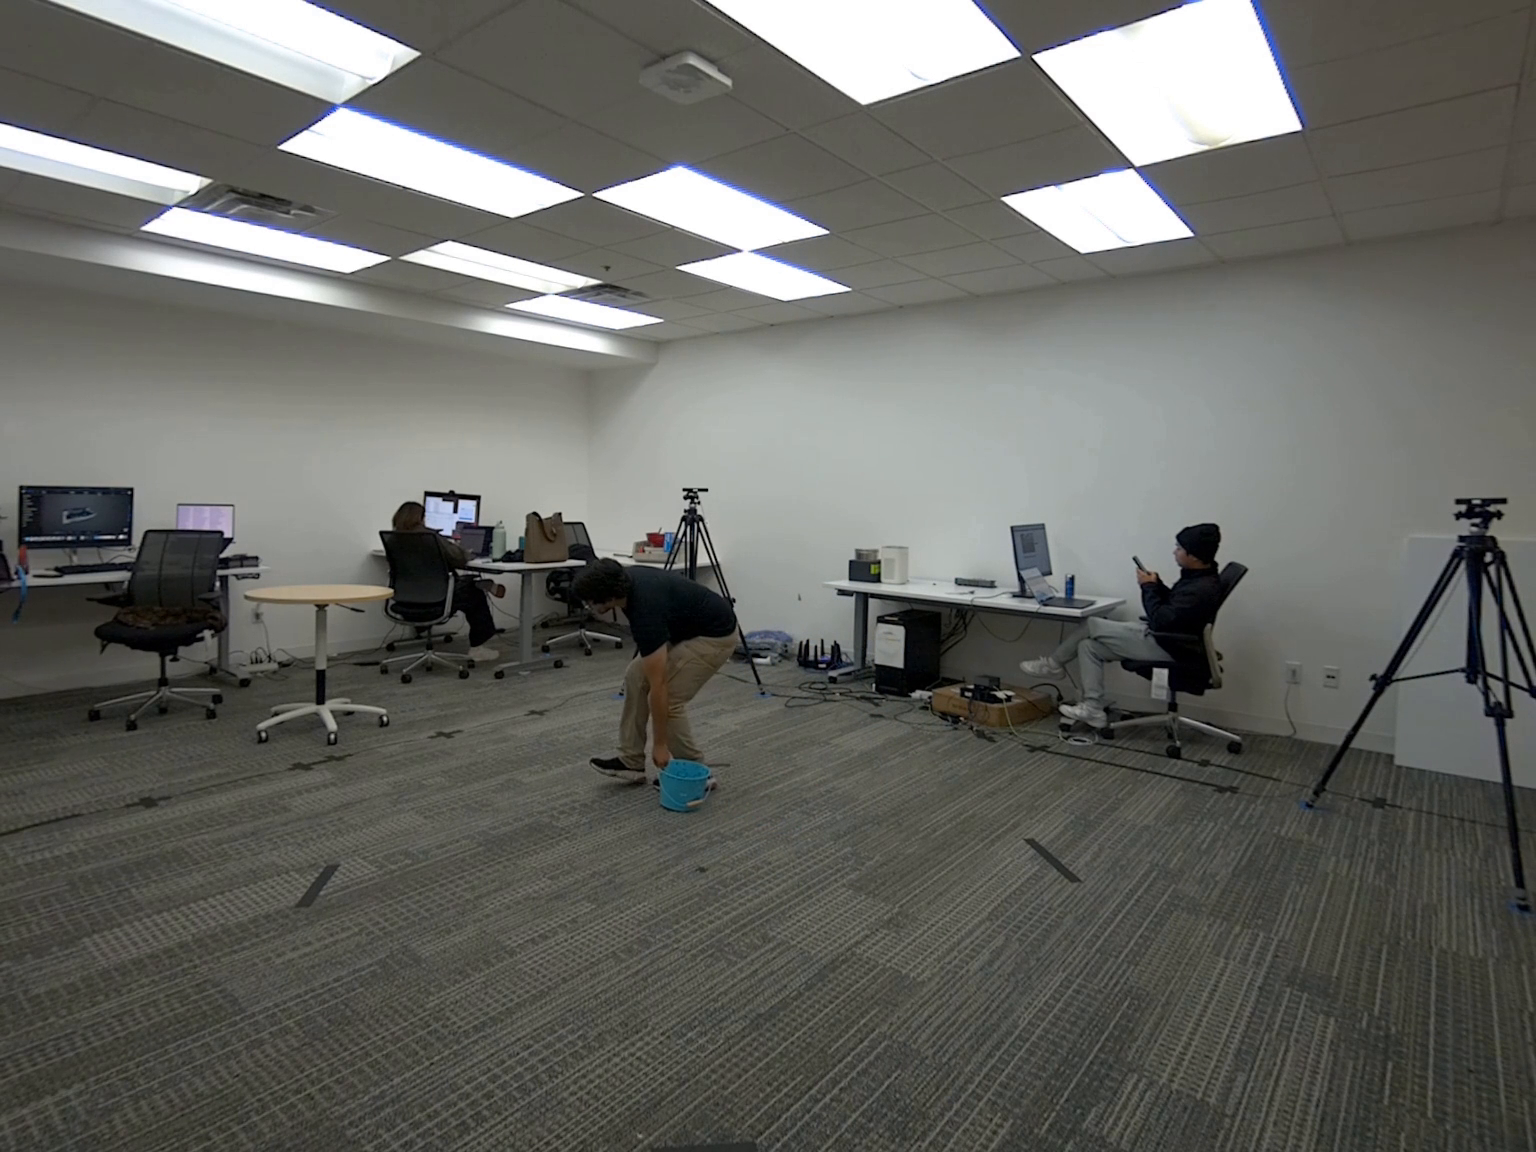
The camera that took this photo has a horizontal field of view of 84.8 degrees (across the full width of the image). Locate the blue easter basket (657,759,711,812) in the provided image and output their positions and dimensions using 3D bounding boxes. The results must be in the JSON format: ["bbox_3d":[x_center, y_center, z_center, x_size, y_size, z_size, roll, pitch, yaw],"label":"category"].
[{"bbox_3d":[-0.387,0.920,3.739,0.243,0.155,0.245,6,5,-2],"label":"blue easter basket"}]
